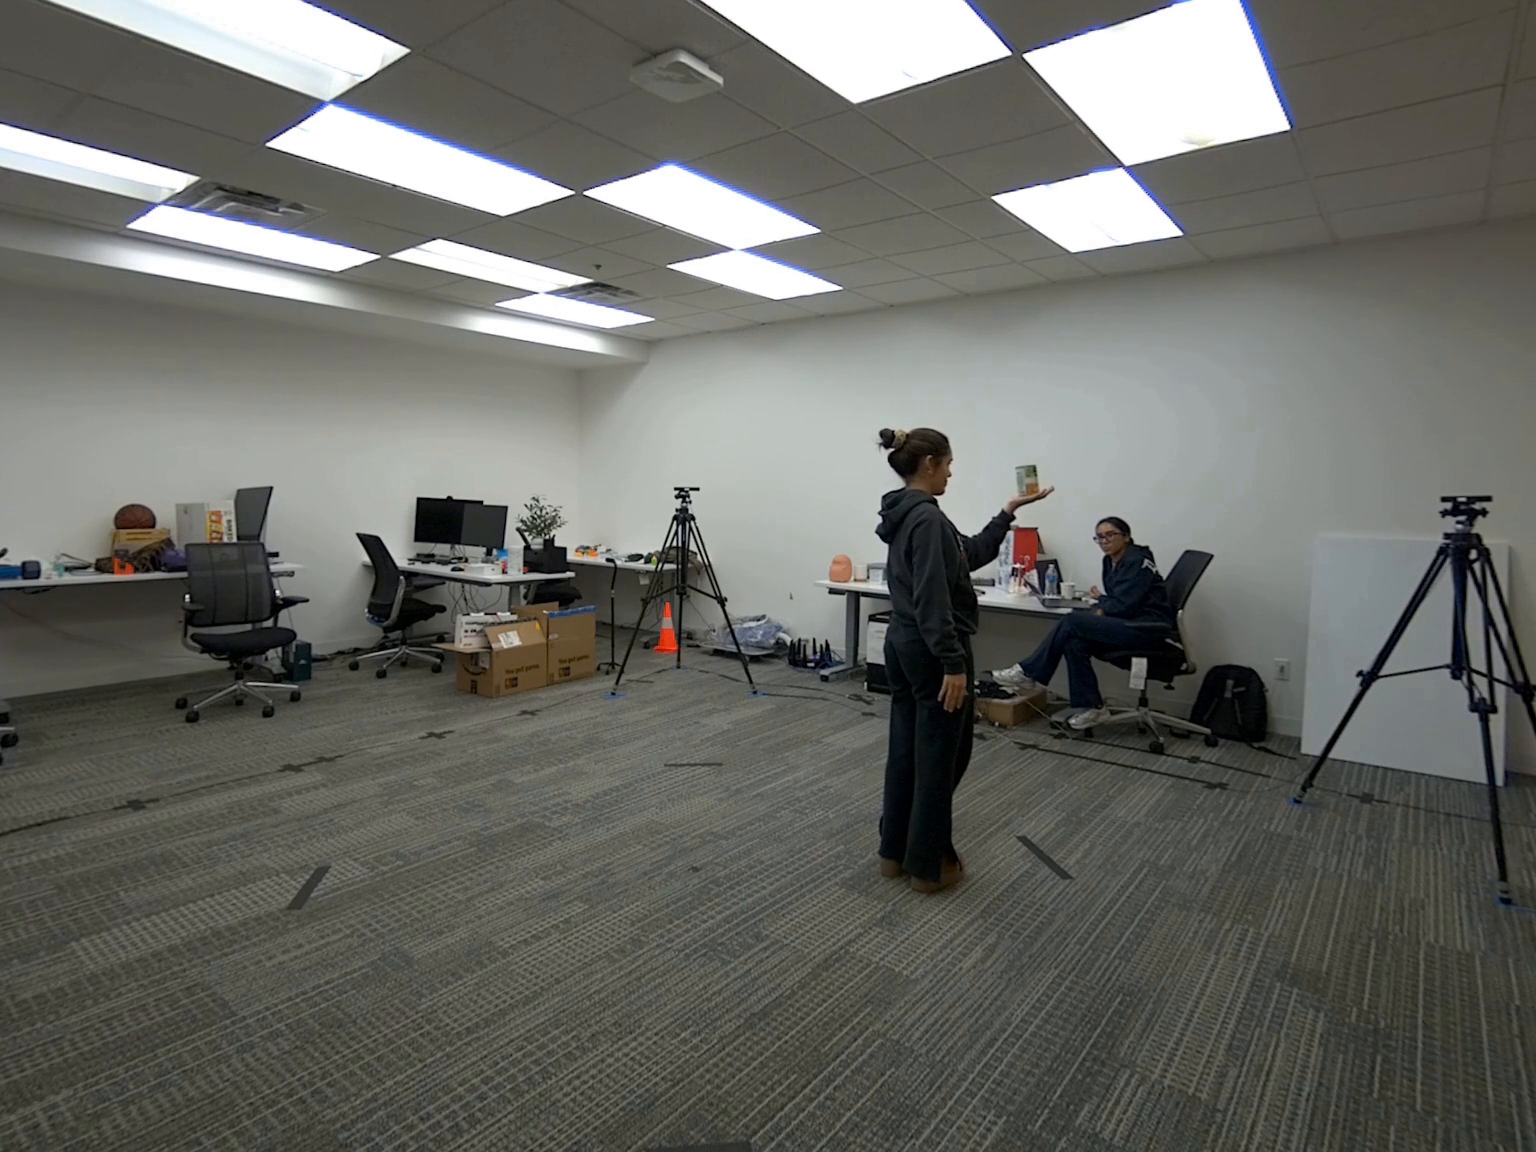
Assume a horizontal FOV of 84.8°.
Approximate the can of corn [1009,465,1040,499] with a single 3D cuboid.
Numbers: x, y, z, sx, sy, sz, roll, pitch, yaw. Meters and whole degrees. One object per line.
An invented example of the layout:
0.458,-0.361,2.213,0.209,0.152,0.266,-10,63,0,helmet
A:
0.947,-0.347,3.105,0.074,0.111,0.074,-6,-2,-2,can of corn
